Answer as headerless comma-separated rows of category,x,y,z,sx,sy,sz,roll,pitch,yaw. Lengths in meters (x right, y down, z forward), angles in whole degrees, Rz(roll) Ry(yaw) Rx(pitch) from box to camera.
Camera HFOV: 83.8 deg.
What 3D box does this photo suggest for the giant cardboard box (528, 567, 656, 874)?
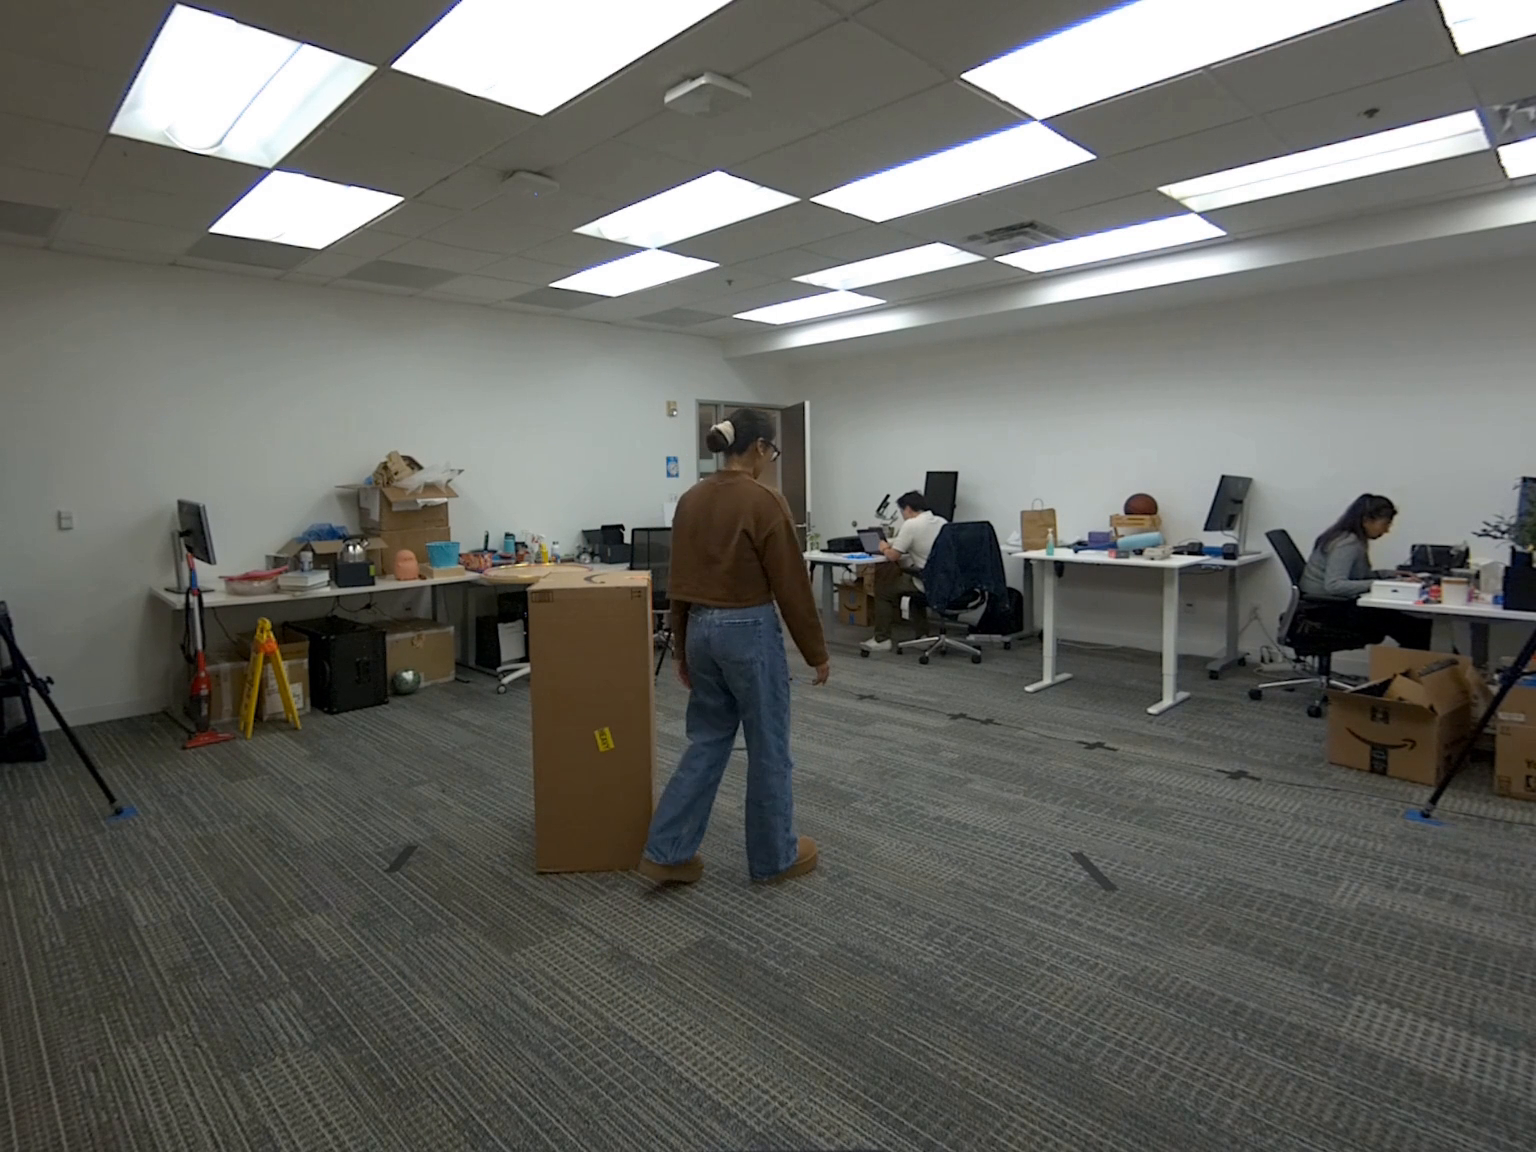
giant cardboard box,-0.666,0.517,3.327,0.424,1.022,0.582,-1,4,-6
